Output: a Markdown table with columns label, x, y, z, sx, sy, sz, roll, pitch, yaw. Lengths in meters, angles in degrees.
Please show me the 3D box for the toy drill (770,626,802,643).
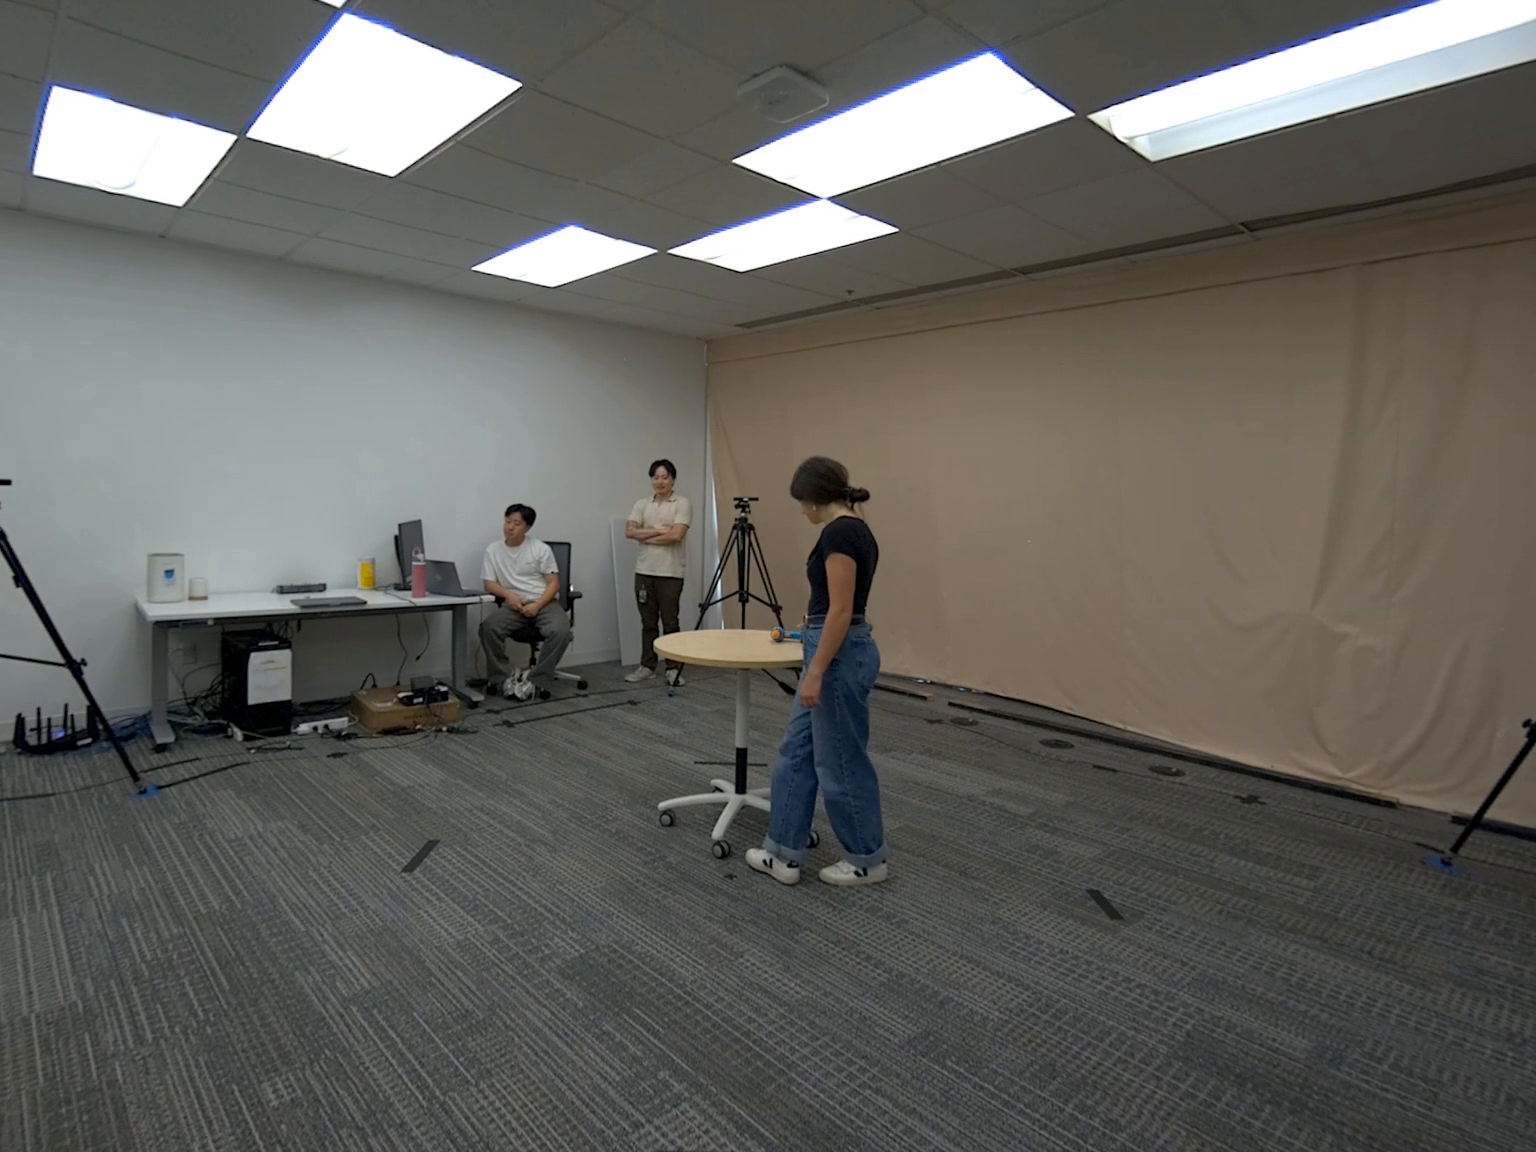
| label | x | y | z | sx | sy | sz | roll | pitch | yaw |
| --- | --- | --- | --- | --- | --- | --- | --- | --- | --- |
| toy drill | 0.073 | 0.258 | 3.622 | 0.147 | 0.061 | 0.168 | 5 | -4 | 10 |
